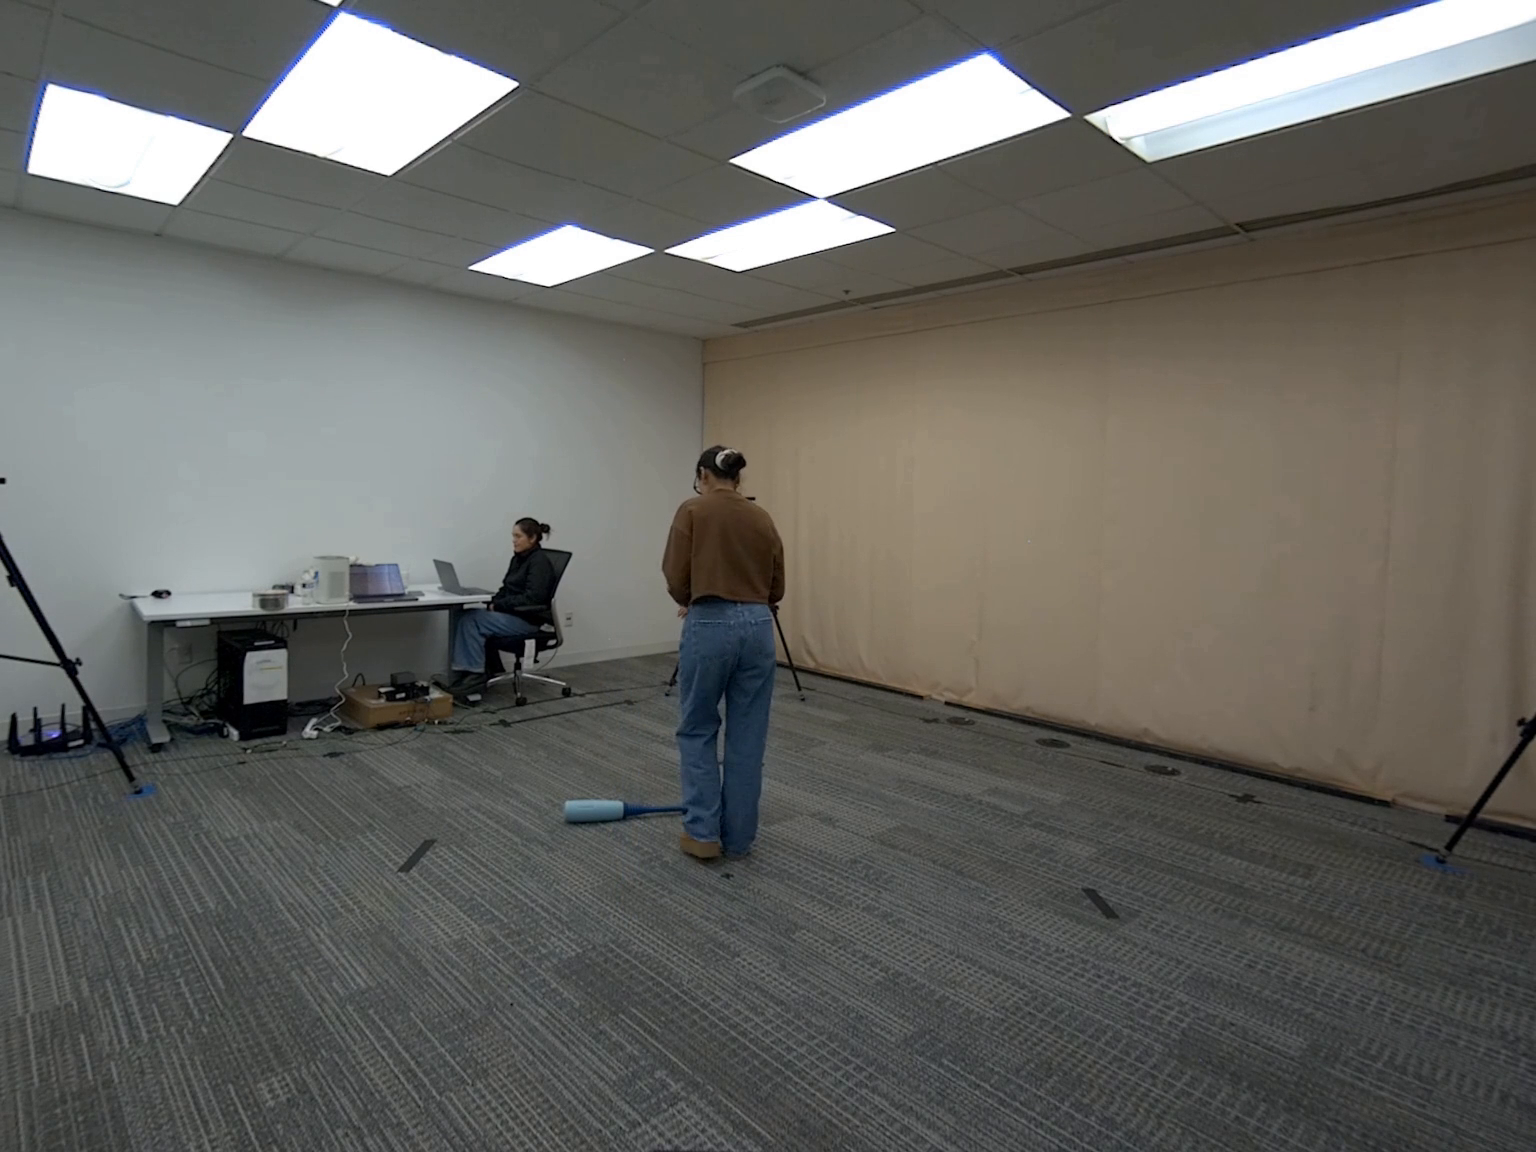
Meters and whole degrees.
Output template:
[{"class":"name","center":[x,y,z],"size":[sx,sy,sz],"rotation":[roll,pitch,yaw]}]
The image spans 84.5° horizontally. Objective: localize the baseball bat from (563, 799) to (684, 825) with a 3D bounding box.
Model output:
[{"class":"baseball bat","center":[-0.616,1.014,3.636],"size":[0.536,0.089,0.090],"rotation":[3,4,-15]}]
